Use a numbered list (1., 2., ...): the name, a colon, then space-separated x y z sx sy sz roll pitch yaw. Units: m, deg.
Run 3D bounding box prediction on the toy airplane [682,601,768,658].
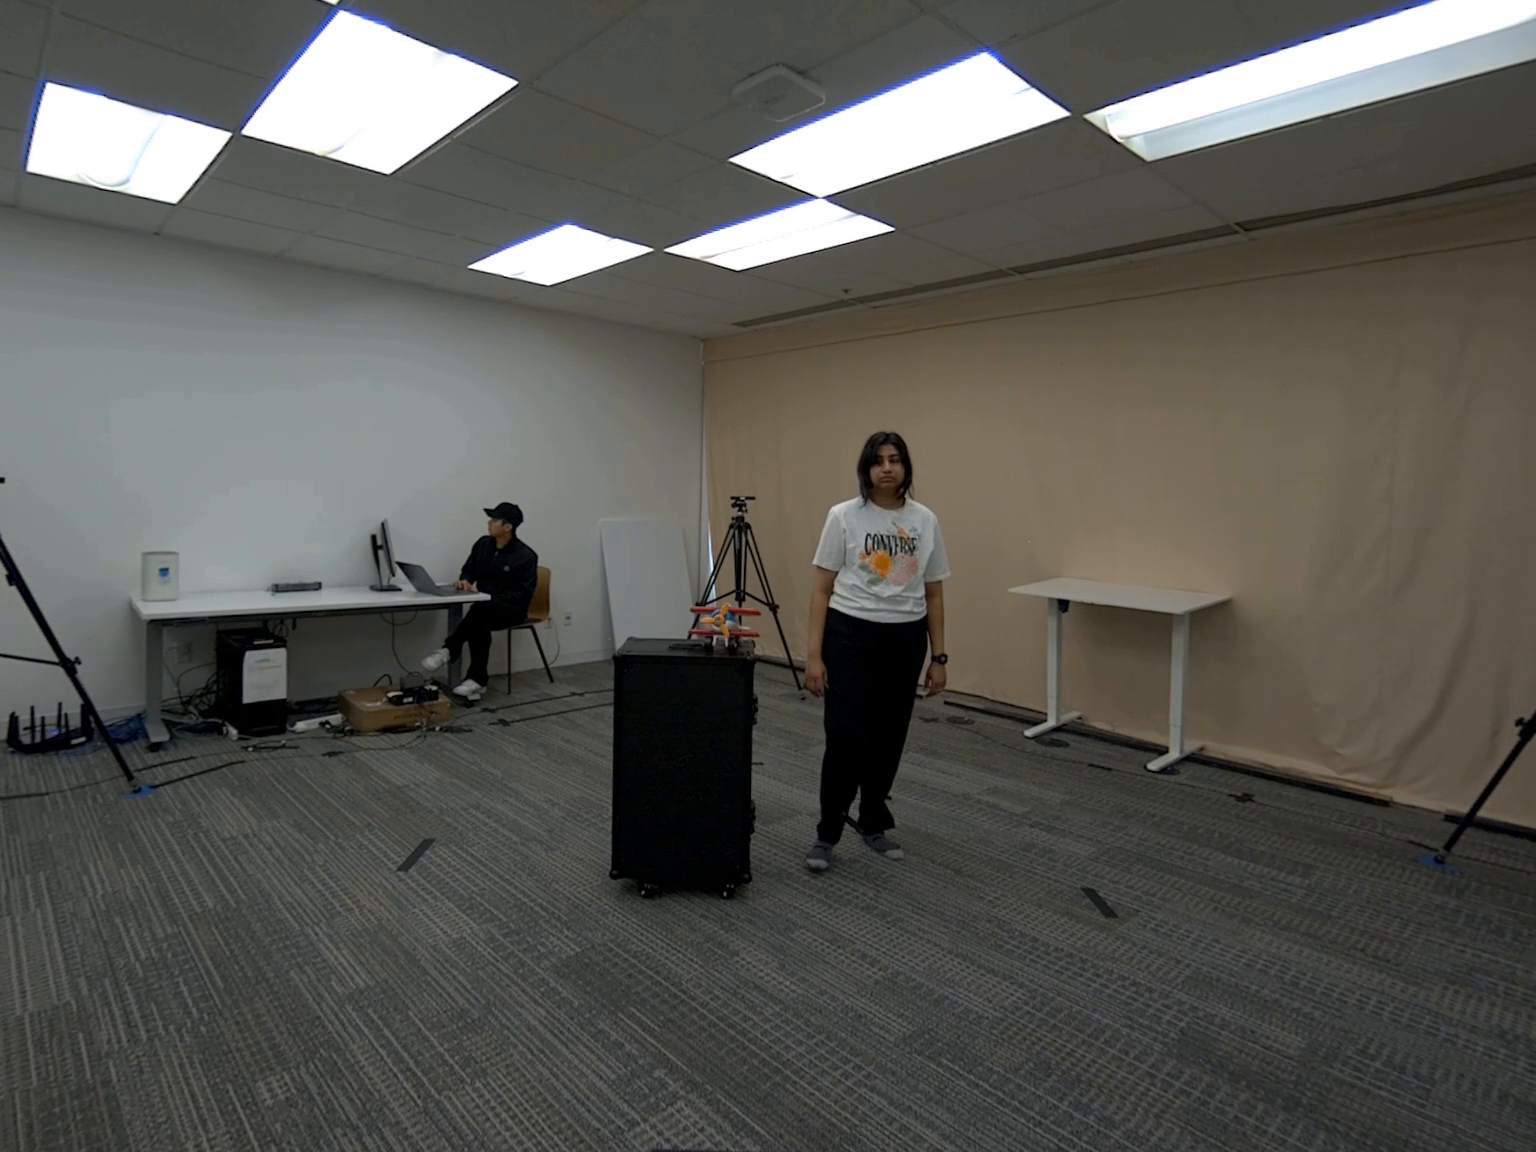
1. toy airplane: -0.160 0.185 3.027 0.248 0.156 0.262 0 4 -14
